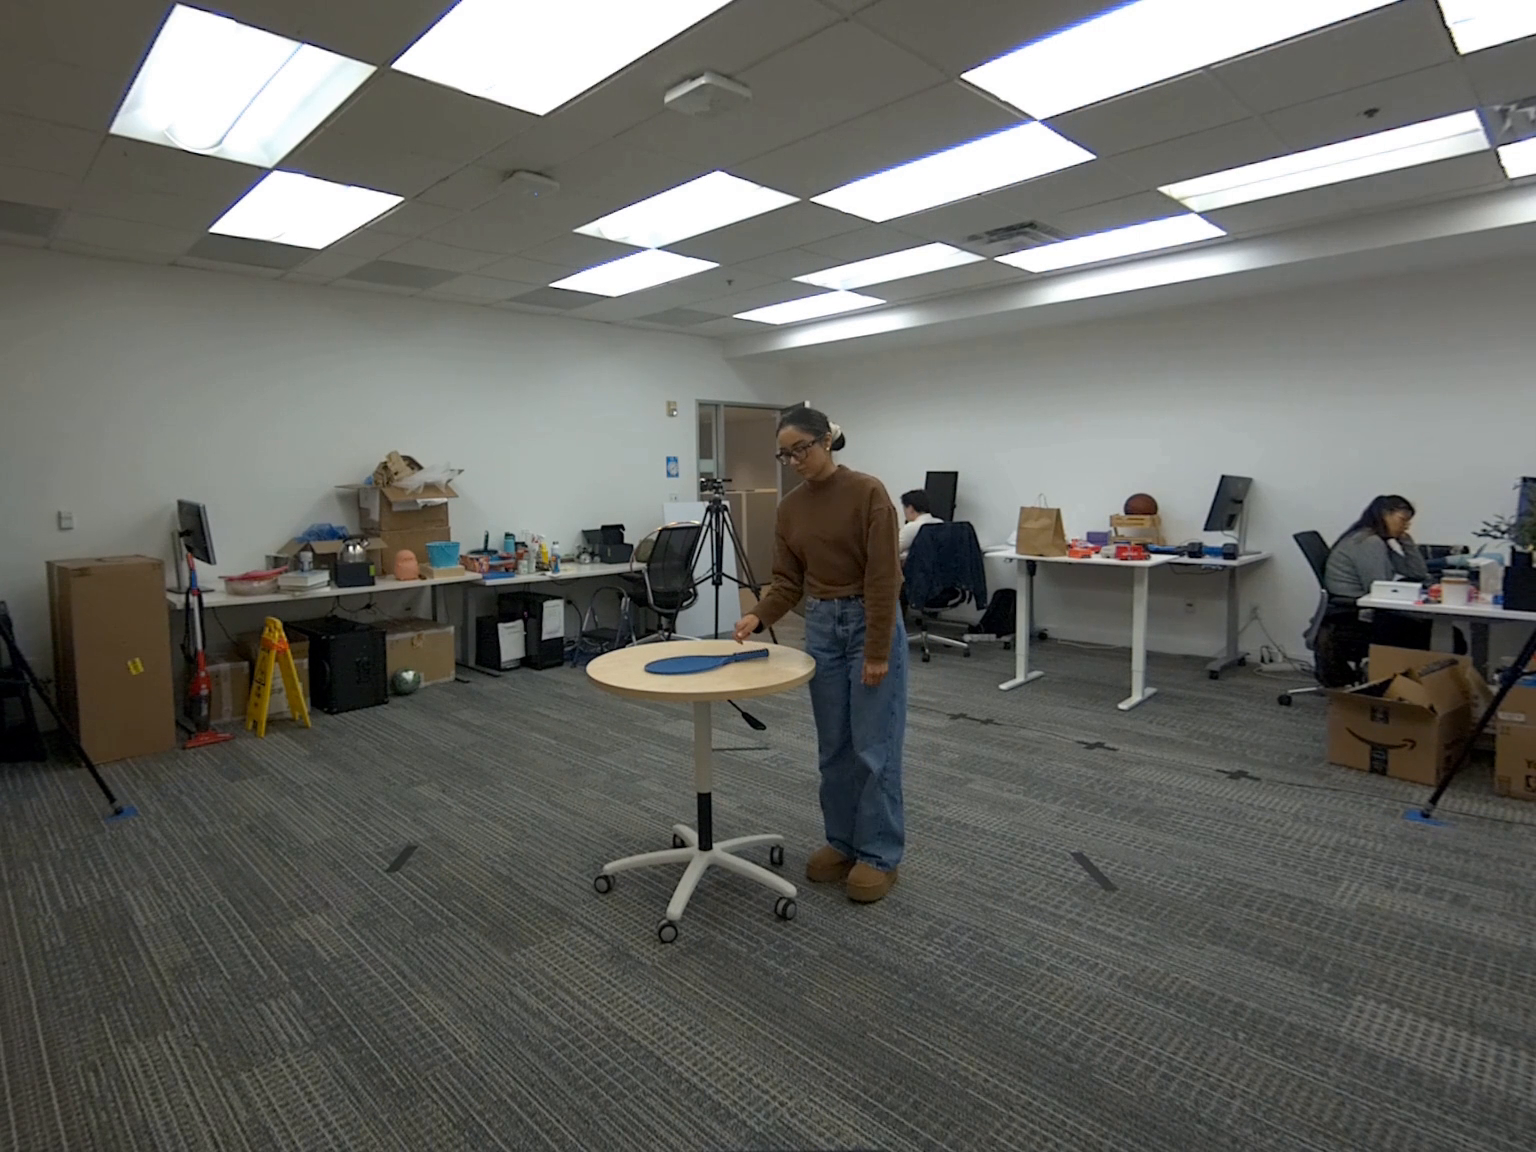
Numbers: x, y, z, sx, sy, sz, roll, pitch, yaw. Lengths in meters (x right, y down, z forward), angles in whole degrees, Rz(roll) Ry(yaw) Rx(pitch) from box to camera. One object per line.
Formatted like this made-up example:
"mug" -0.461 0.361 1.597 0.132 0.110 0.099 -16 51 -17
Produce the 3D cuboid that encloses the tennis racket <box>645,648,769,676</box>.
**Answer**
"tennis racket" -0.199 0.284 2.831 0.426 0.031 0.218 -5 8 -18
